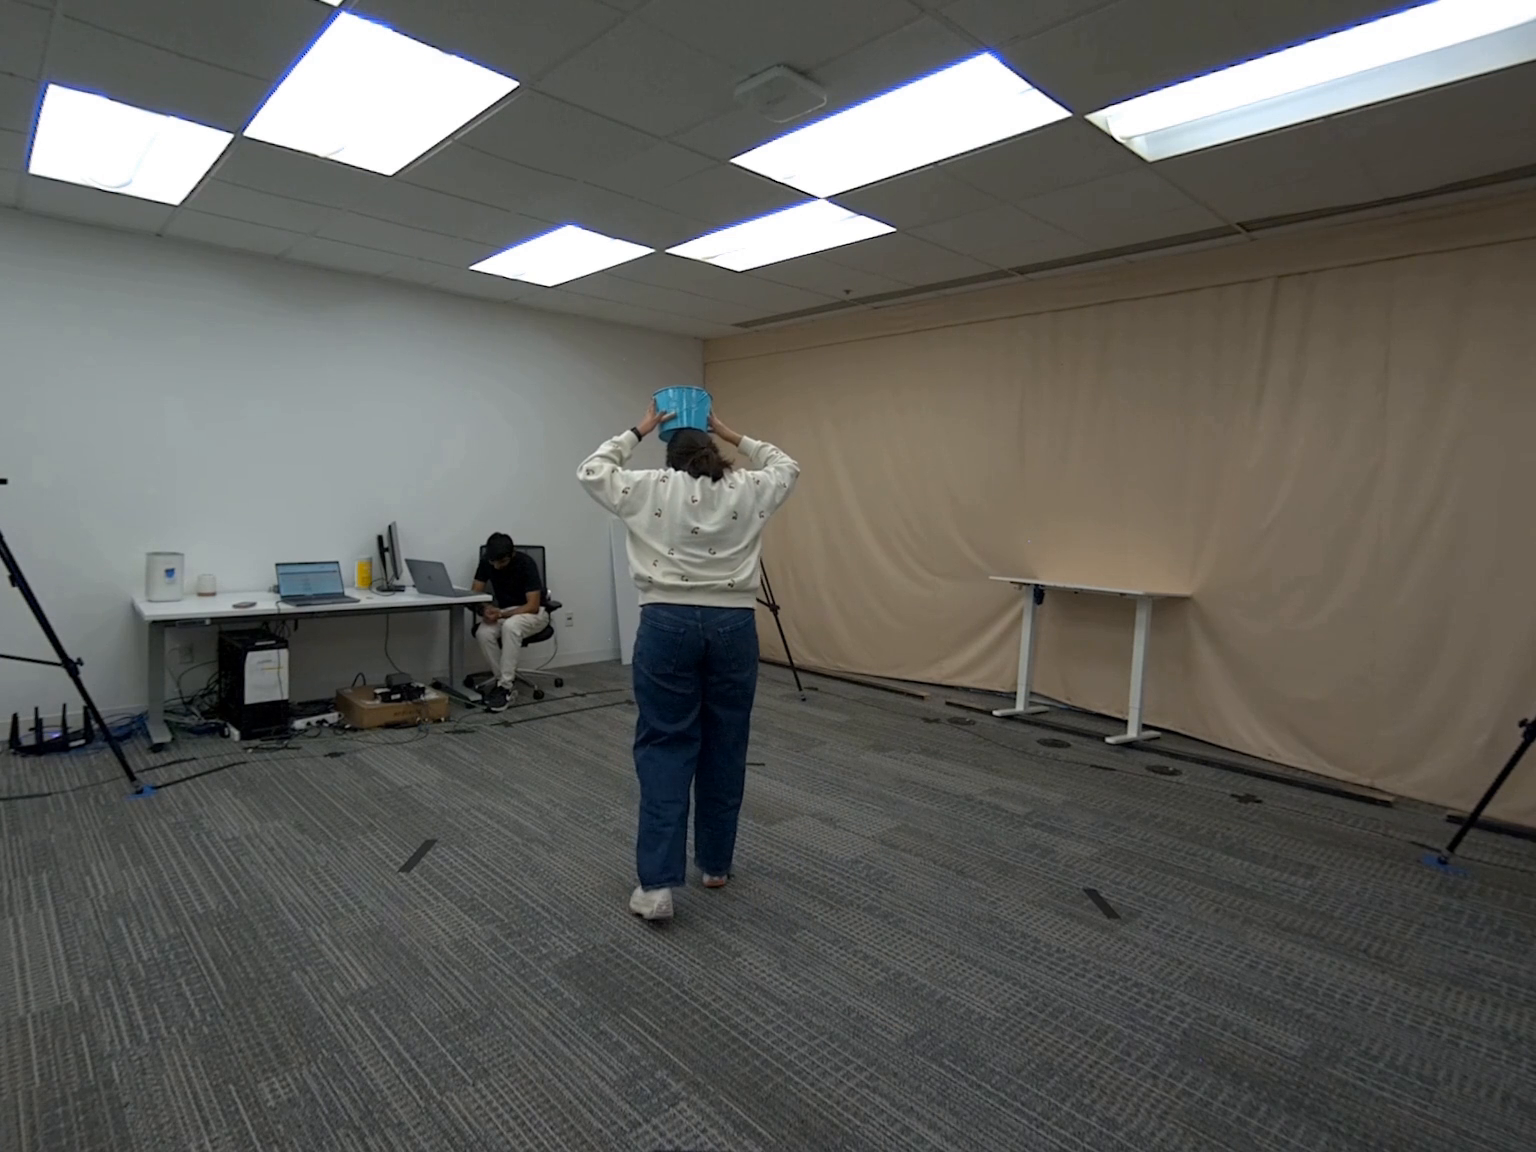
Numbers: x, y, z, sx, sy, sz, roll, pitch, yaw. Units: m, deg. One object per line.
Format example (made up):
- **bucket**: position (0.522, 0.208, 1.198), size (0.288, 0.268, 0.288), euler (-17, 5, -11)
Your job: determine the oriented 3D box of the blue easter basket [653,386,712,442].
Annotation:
- **blue easter basket**: position (-0.333, -0.597, 3.168), size (0.243, 0.157, 0.241), euler (-2, -14, -2)
